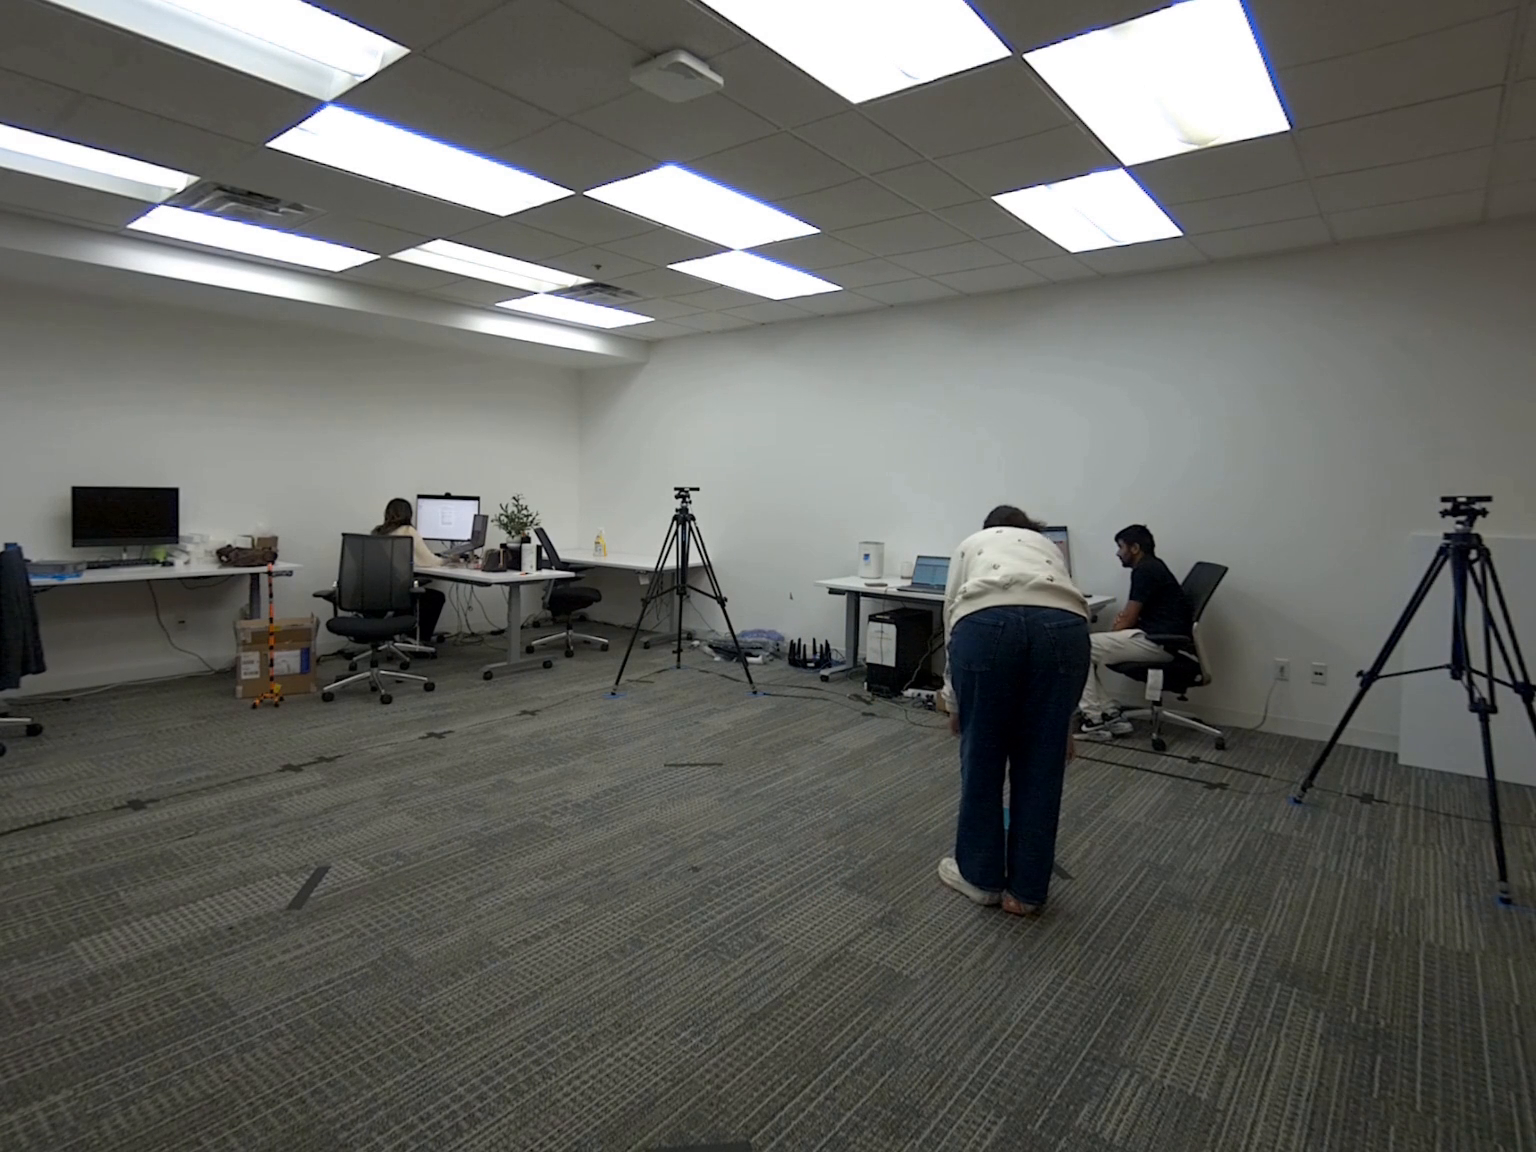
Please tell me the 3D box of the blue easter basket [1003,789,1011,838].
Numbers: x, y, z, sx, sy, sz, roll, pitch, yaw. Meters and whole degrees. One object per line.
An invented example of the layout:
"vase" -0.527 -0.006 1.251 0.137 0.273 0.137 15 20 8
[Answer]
"blue easter basket" 0.895 0.986 3.274 0.243 0.155 0.244 1 4 -2
